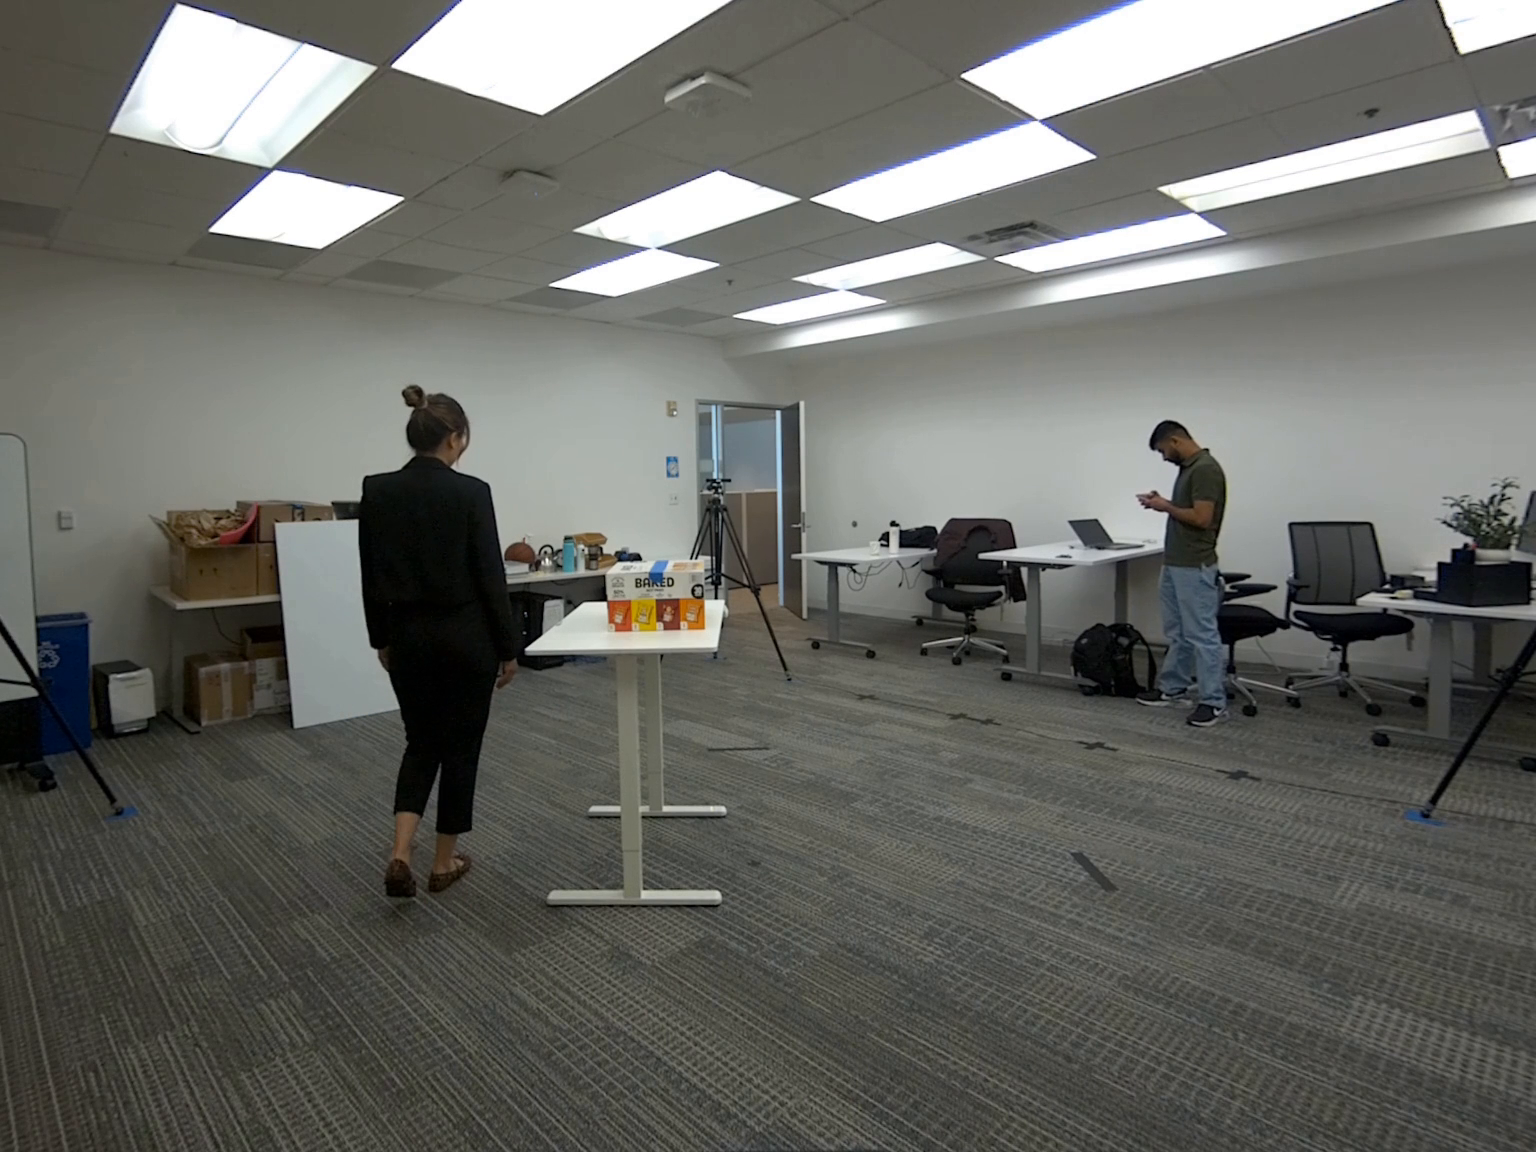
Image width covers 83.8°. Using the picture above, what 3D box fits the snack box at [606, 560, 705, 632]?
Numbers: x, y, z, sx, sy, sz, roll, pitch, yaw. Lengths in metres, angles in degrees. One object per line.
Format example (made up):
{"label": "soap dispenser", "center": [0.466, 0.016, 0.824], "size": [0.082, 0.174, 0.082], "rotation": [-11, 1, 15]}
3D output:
{"label": "snack box", "center": [-0.395, 0.065, 3.139], "size": [0.340, 0.205, 0.408], "rotation": [-1, 6, -2]}
